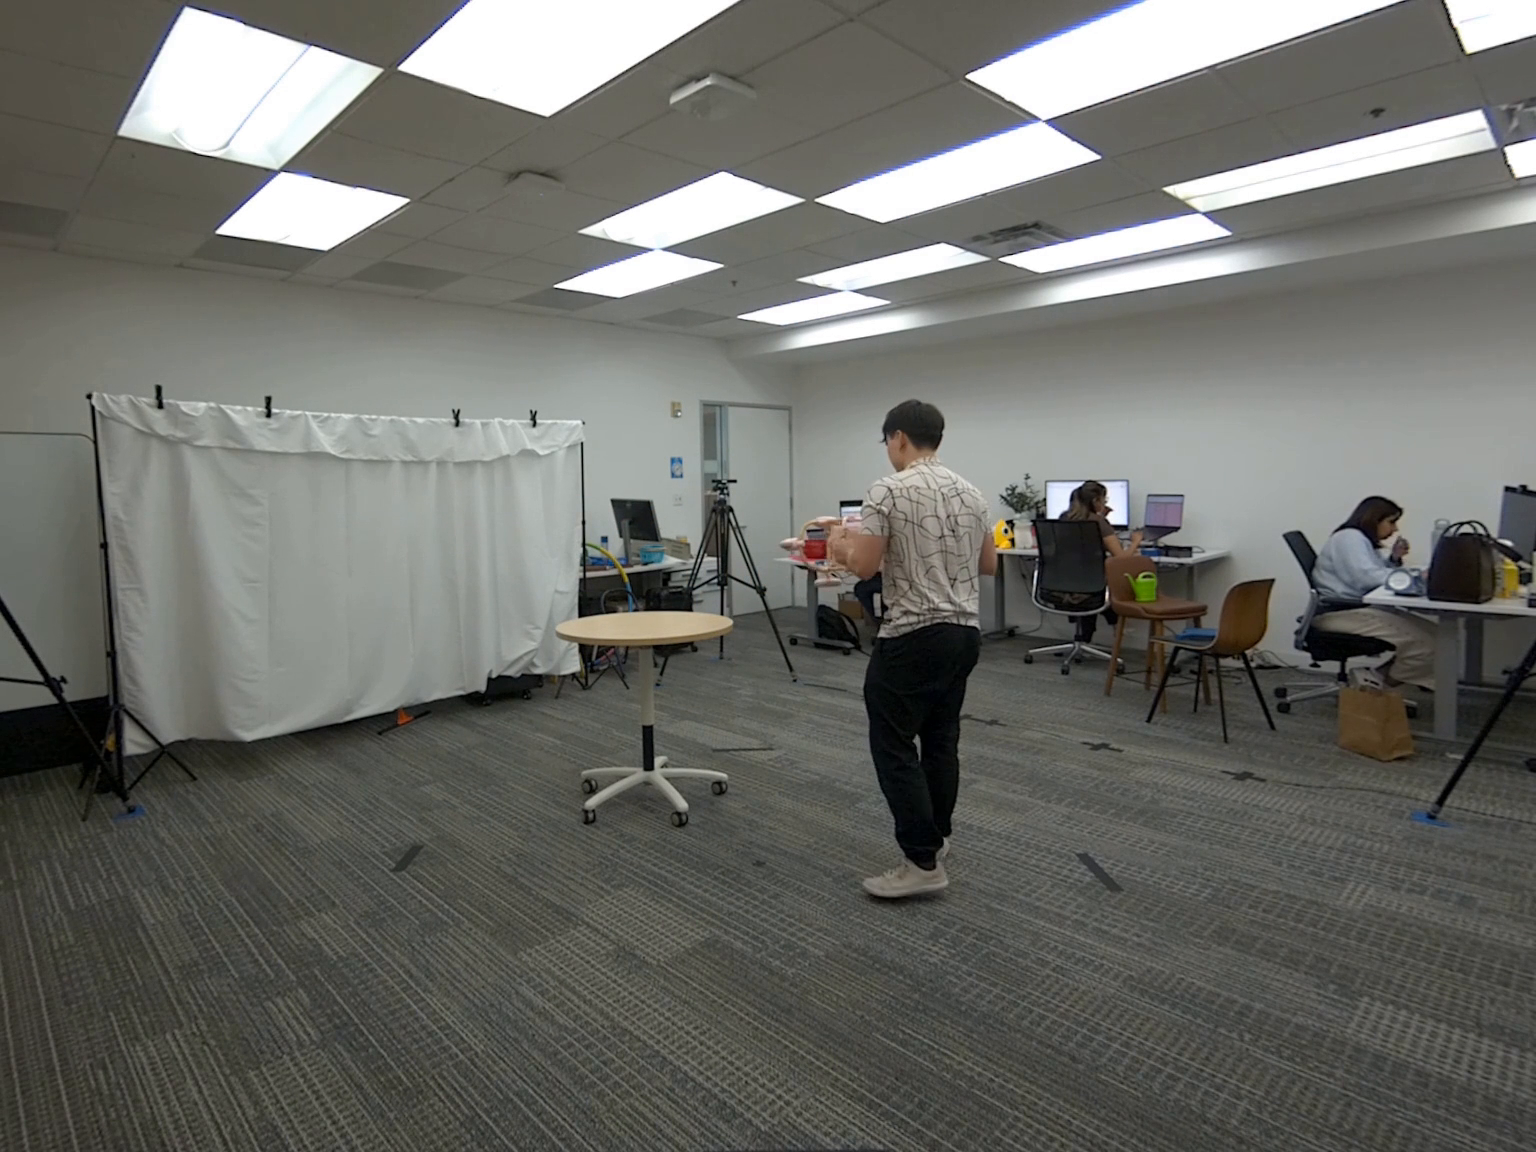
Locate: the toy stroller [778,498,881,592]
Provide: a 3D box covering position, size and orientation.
[{"bbox_3d":[0.353,-0.117,3.320,0.546,0.284,0.331,-3,-13,23],"label":"toy stroller"}]
